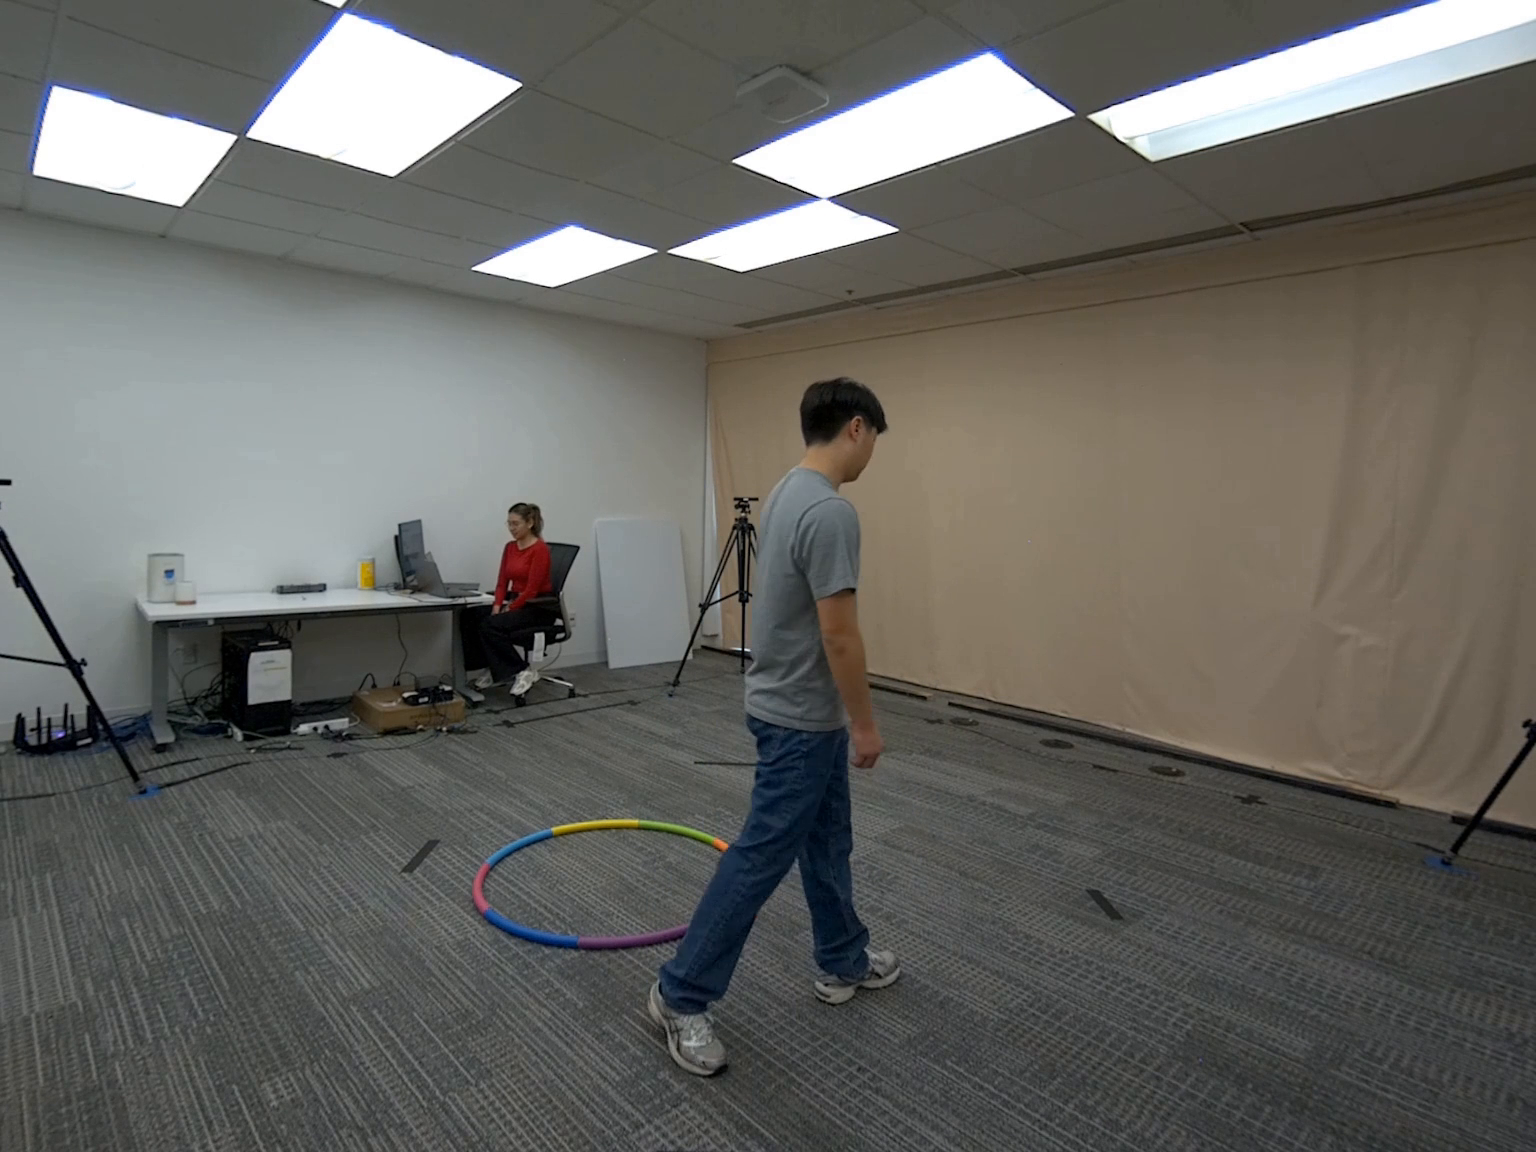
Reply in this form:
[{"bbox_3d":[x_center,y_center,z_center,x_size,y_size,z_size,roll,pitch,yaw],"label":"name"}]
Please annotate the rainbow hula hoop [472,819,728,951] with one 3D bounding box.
[{"bbox_3d":[-0.569,1.070,3.060,0.978,0.035,0.982,2,5,-1],"label":"rainbow hula hoop"}]
